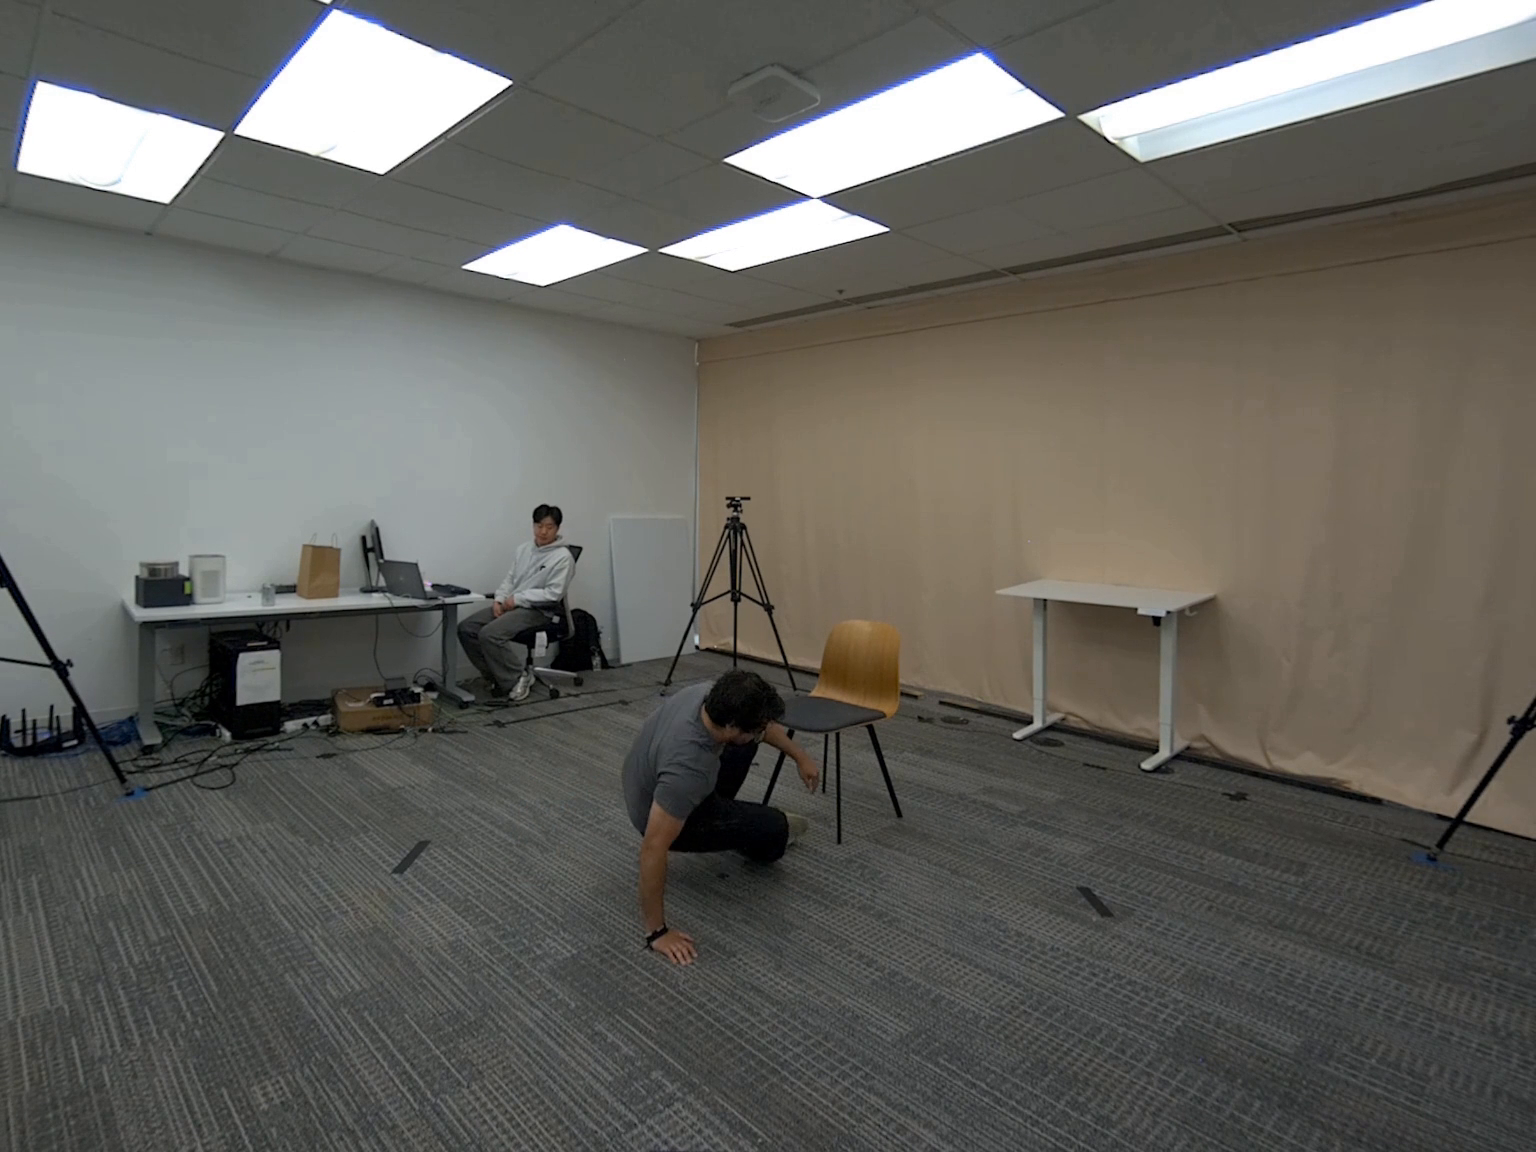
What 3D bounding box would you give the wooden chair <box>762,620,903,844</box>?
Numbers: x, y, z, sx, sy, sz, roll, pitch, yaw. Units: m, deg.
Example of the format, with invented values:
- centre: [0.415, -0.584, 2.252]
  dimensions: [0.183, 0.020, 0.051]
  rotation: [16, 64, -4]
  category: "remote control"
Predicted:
- centre: [0.277, 0.638, 3.699]
  dimensions: [0.490, 0.877, 0.510]
  rotation: [4, 0, 44]
  category: "wooden chair"
